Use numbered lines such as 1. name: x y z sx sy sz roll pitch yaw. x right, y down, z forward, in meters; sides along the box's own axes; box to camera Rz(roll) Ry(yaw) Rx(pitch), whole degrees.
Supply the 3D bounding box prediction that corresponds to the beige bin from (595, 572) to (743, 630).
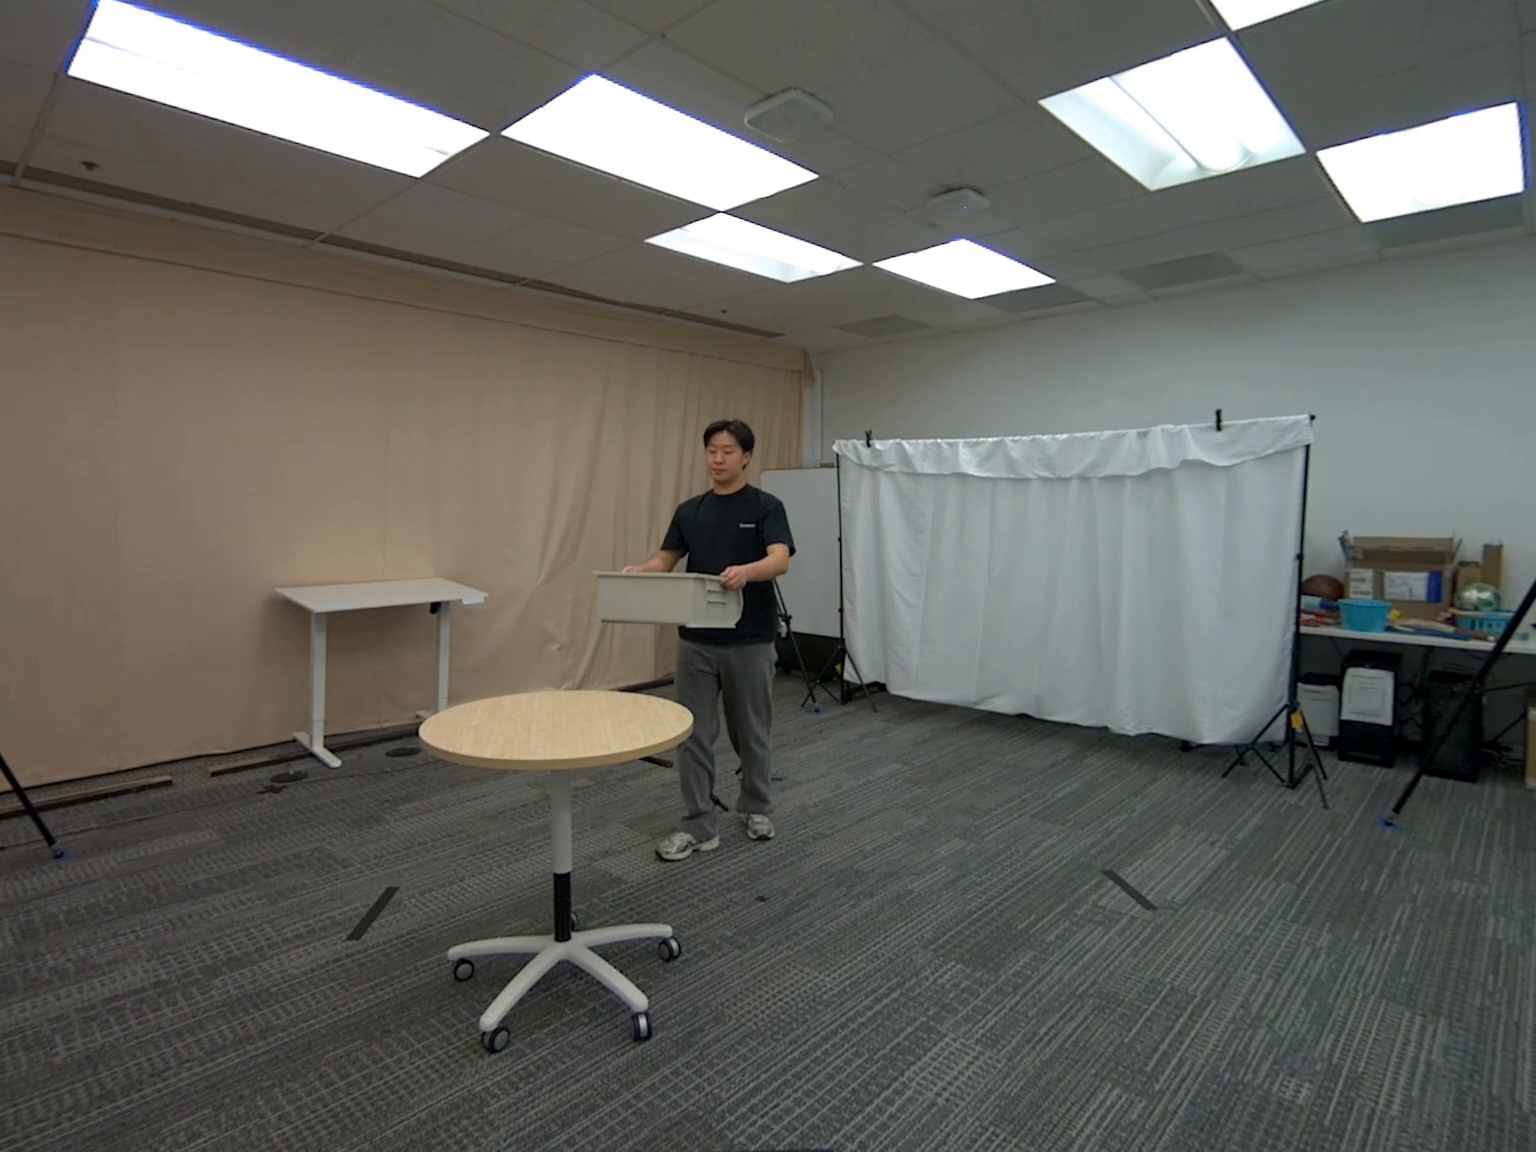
1. beige bin: -0.360 0.096 3.049 0.433 0.189 0.367 2 -2 26
